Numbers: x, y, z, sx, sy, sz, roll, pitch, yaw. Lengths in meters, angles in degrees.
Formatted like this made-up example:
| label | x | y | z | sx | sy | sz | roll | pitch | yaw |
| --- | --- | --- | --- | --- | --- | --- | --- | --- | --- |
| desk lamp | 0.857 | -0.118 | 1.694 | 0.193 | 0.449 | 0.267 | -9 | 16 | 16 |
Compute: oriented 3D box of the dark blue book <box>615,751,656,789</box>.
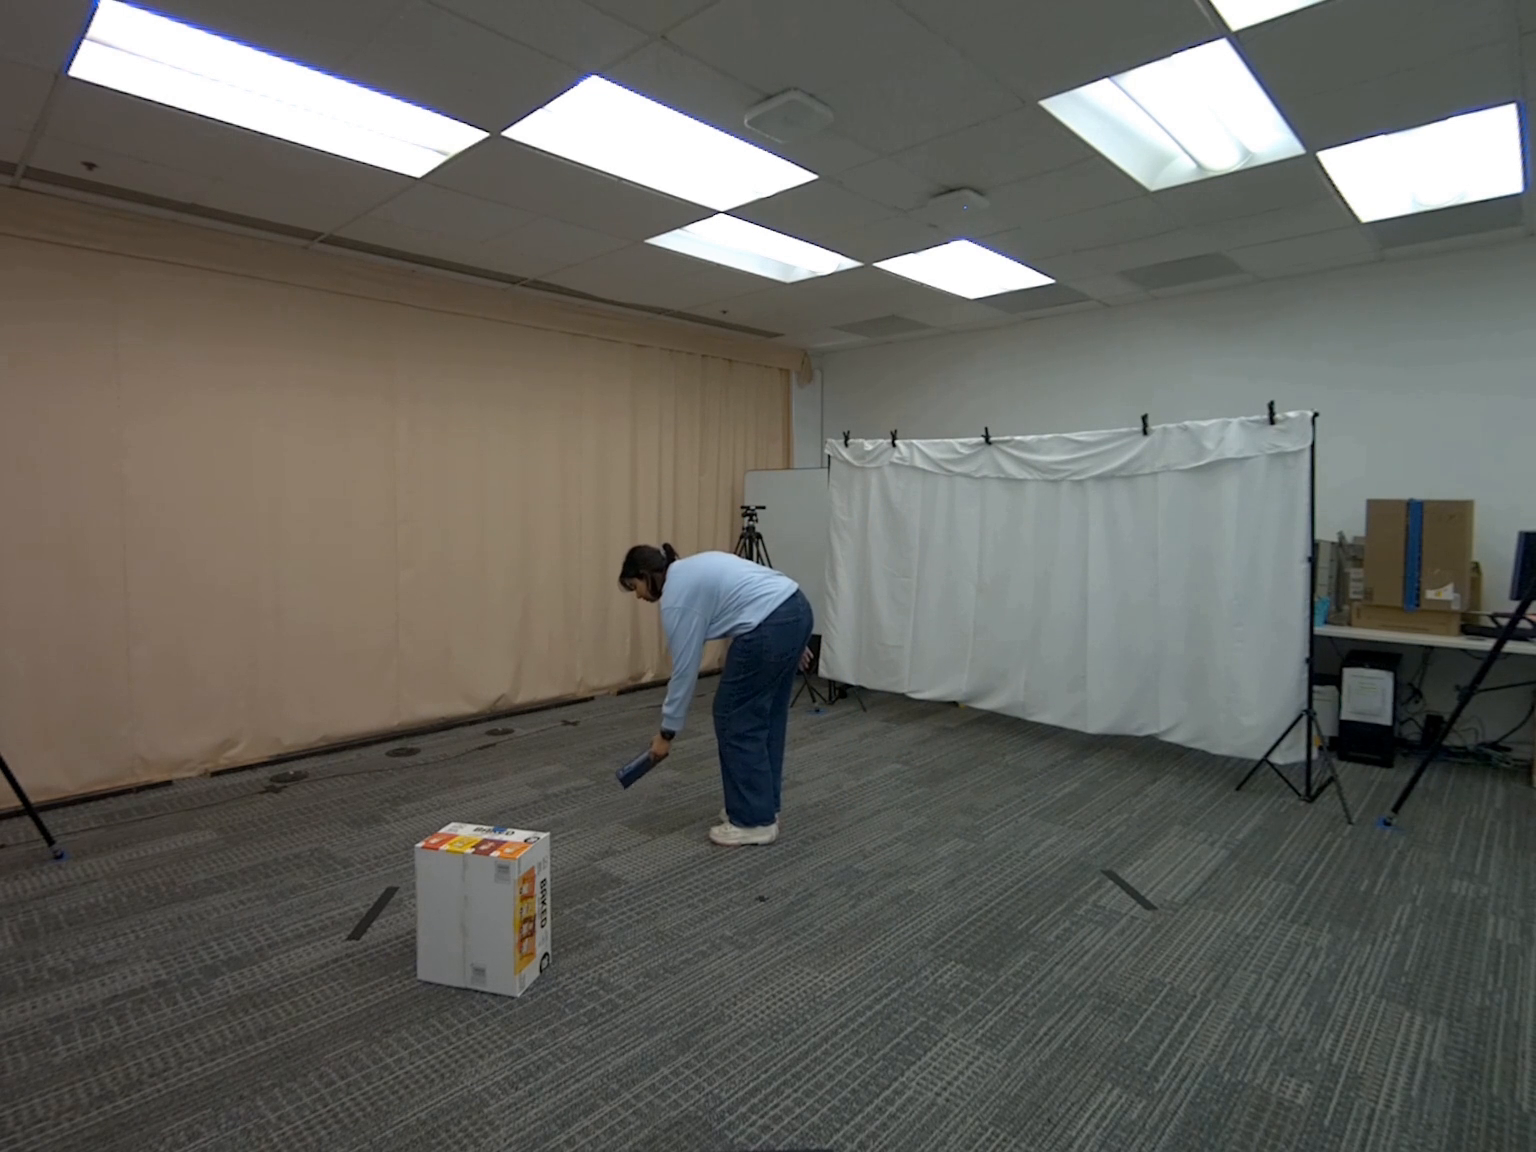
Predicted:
| label | x | y | z | sx | sy | sz | roll | pitch | yaw |
| --- | --- | --- | --- | --- | --- | --- | --- | --- | --- |
| dark blue book | -0.544 | 0.803 | 3.647 | 0.243 | 0.046 | 0.161 | -36 | -22 | -17 |
